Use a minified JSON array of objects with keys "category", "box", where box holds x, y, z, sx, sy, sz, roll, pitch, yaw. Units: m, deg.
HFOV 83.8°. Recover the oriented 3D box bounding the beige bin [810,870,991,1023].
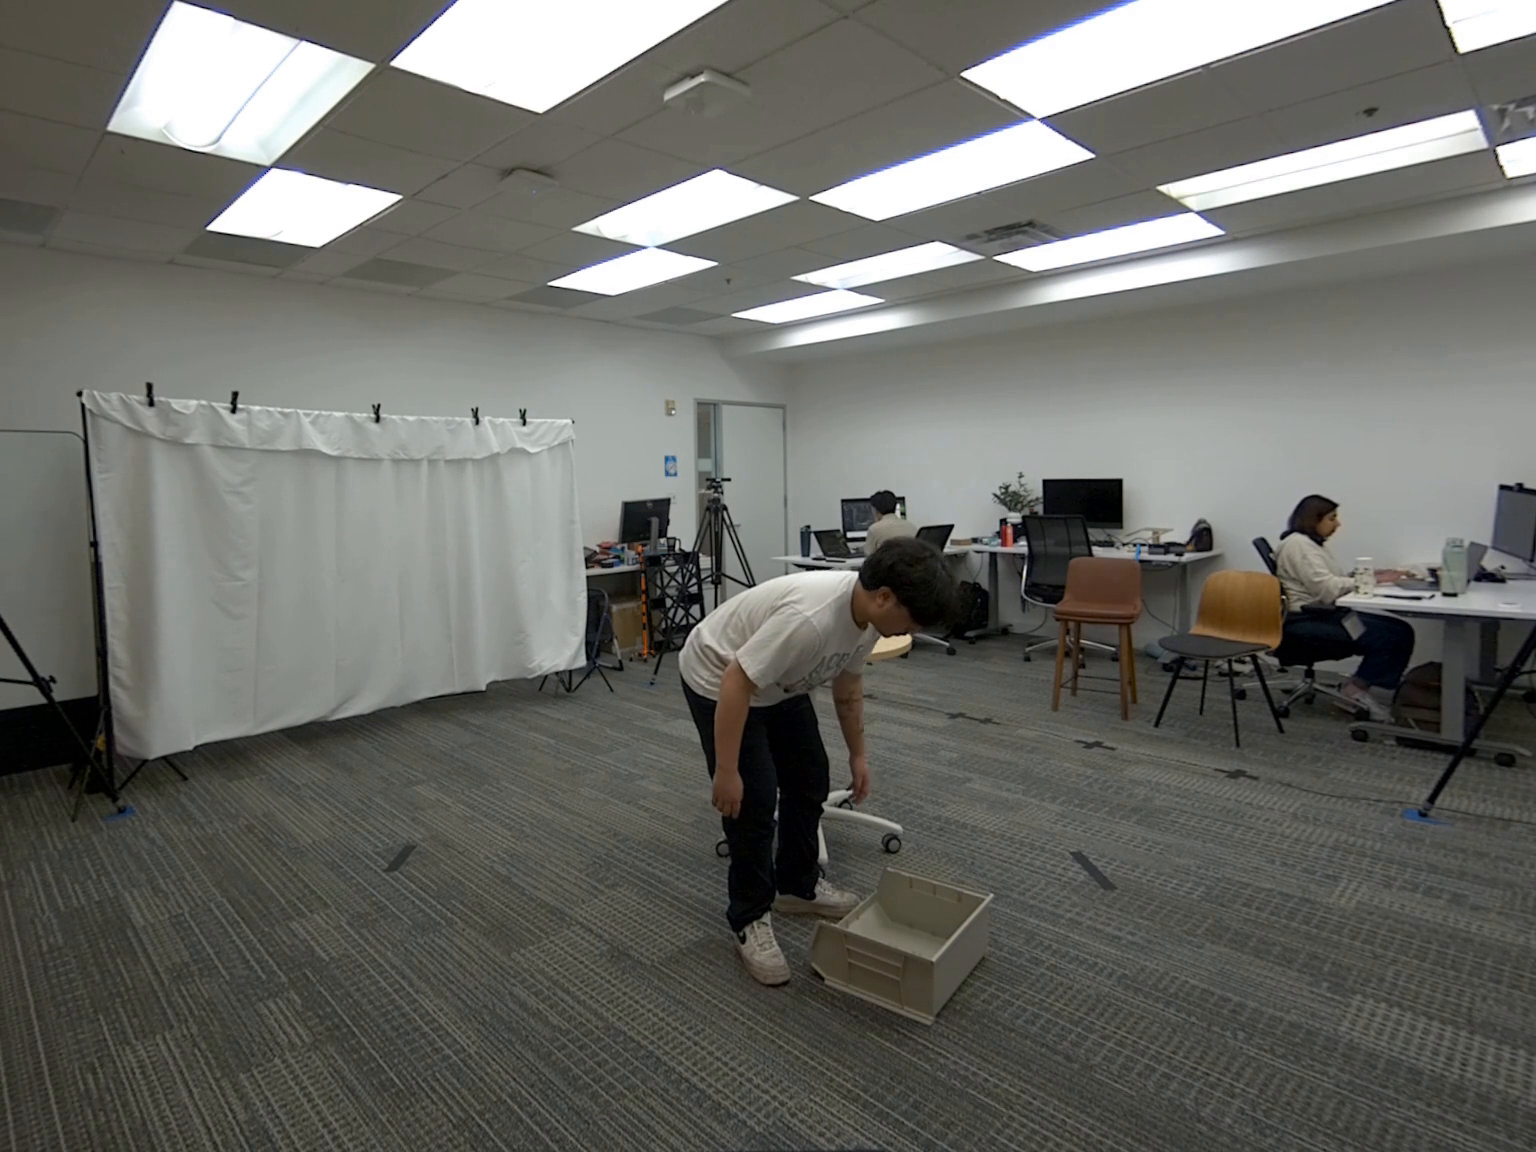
[{"category":"beige bin","box":[0.381,1.020,2.434,0.388,0.188,0.412,4,7,36]}]
